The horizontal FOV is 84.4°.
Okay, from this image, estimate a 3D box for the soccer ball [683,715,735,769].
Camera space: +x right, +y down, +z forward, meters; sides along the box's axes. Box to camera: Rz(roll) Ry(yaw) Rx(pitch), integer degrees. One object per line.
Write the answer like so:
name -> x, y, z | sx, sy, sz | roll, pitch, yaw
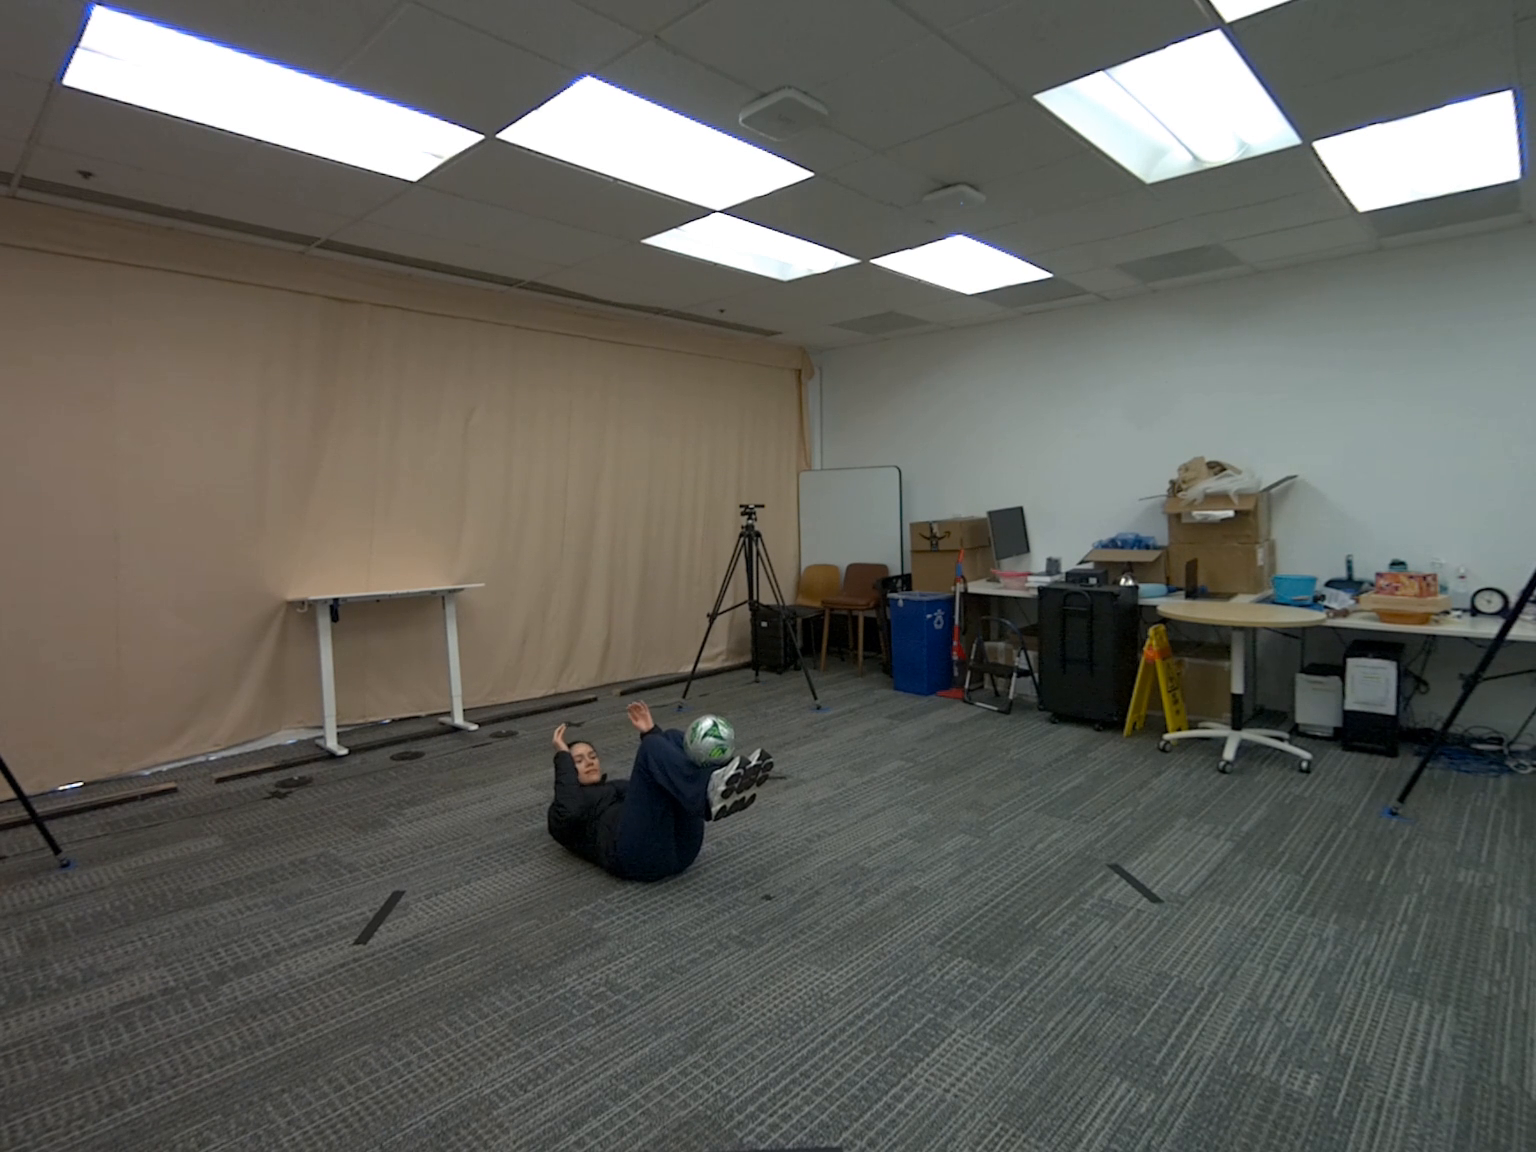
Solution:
soccer ball -> -0.196, 0.578, 2.928 | 0.187, 0.187, 0.188 | 2, 5, -2
